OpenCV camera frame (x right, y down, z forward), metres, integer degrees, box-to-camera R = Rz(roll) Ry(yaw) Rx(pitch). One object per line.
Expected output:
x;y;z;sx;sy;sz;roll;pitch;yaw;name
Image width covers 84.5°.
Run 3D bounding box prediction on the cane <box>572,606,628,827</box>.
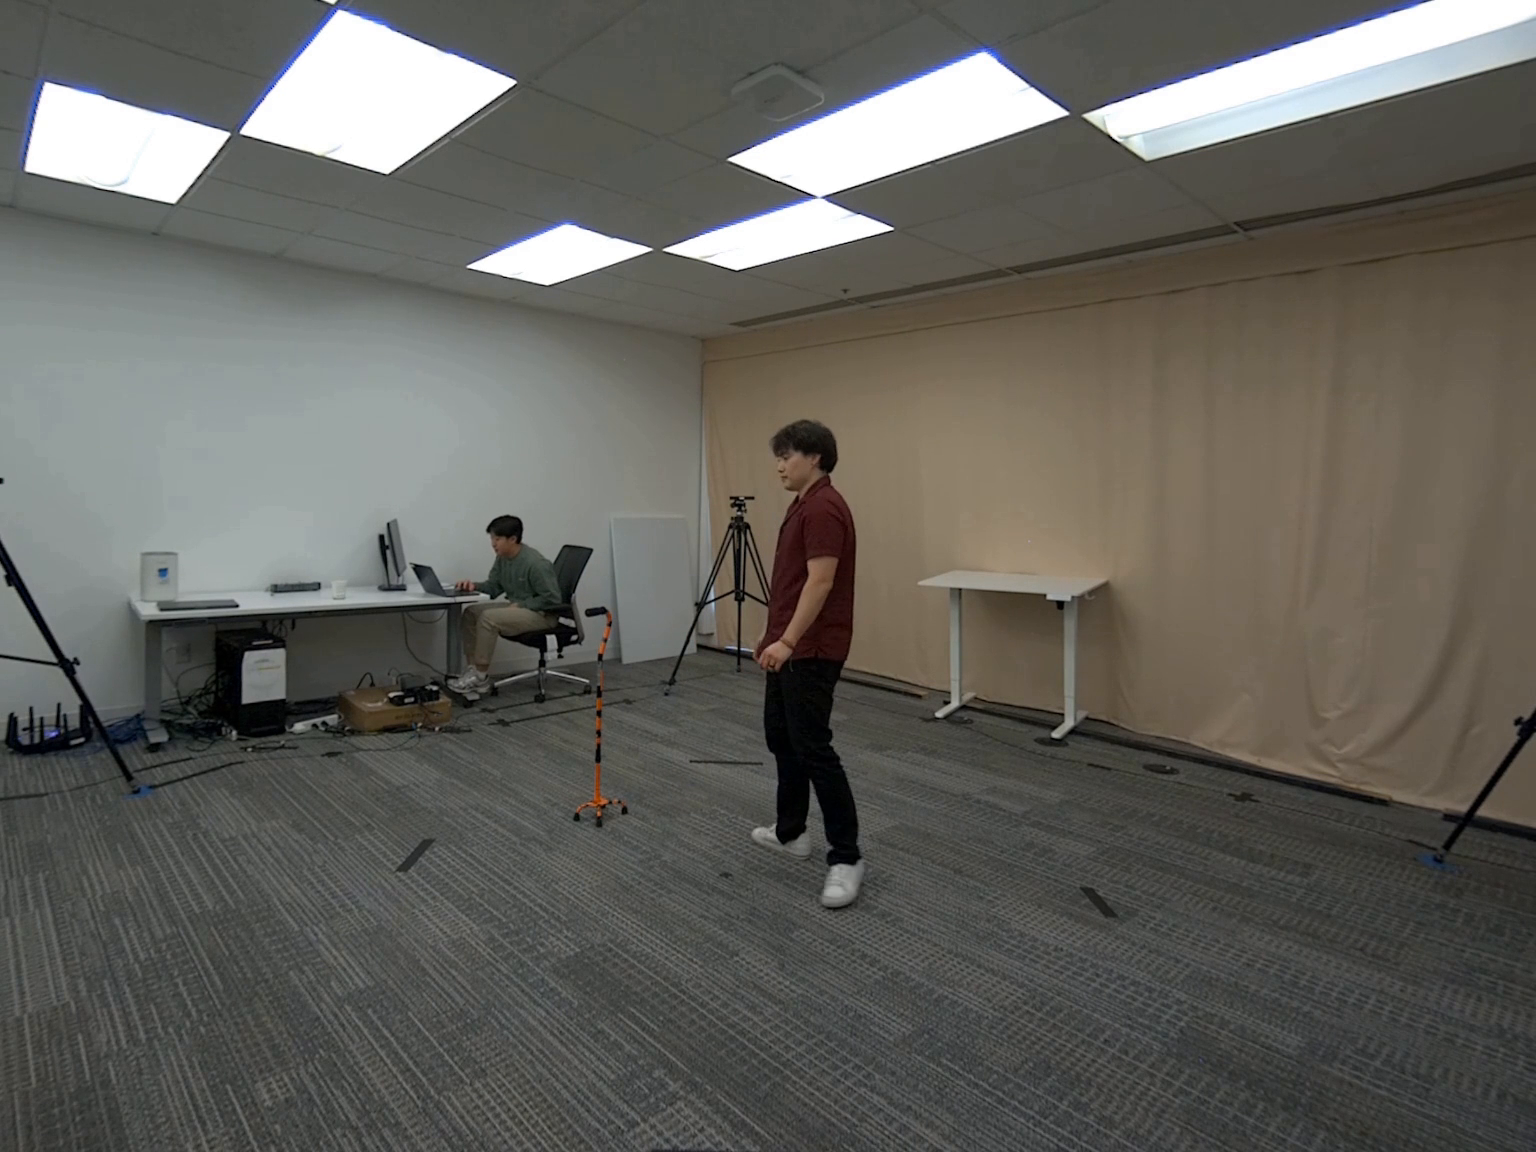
-0.719;0.596;3.630;0.154;0.906;0.203;2;2;26;cane
